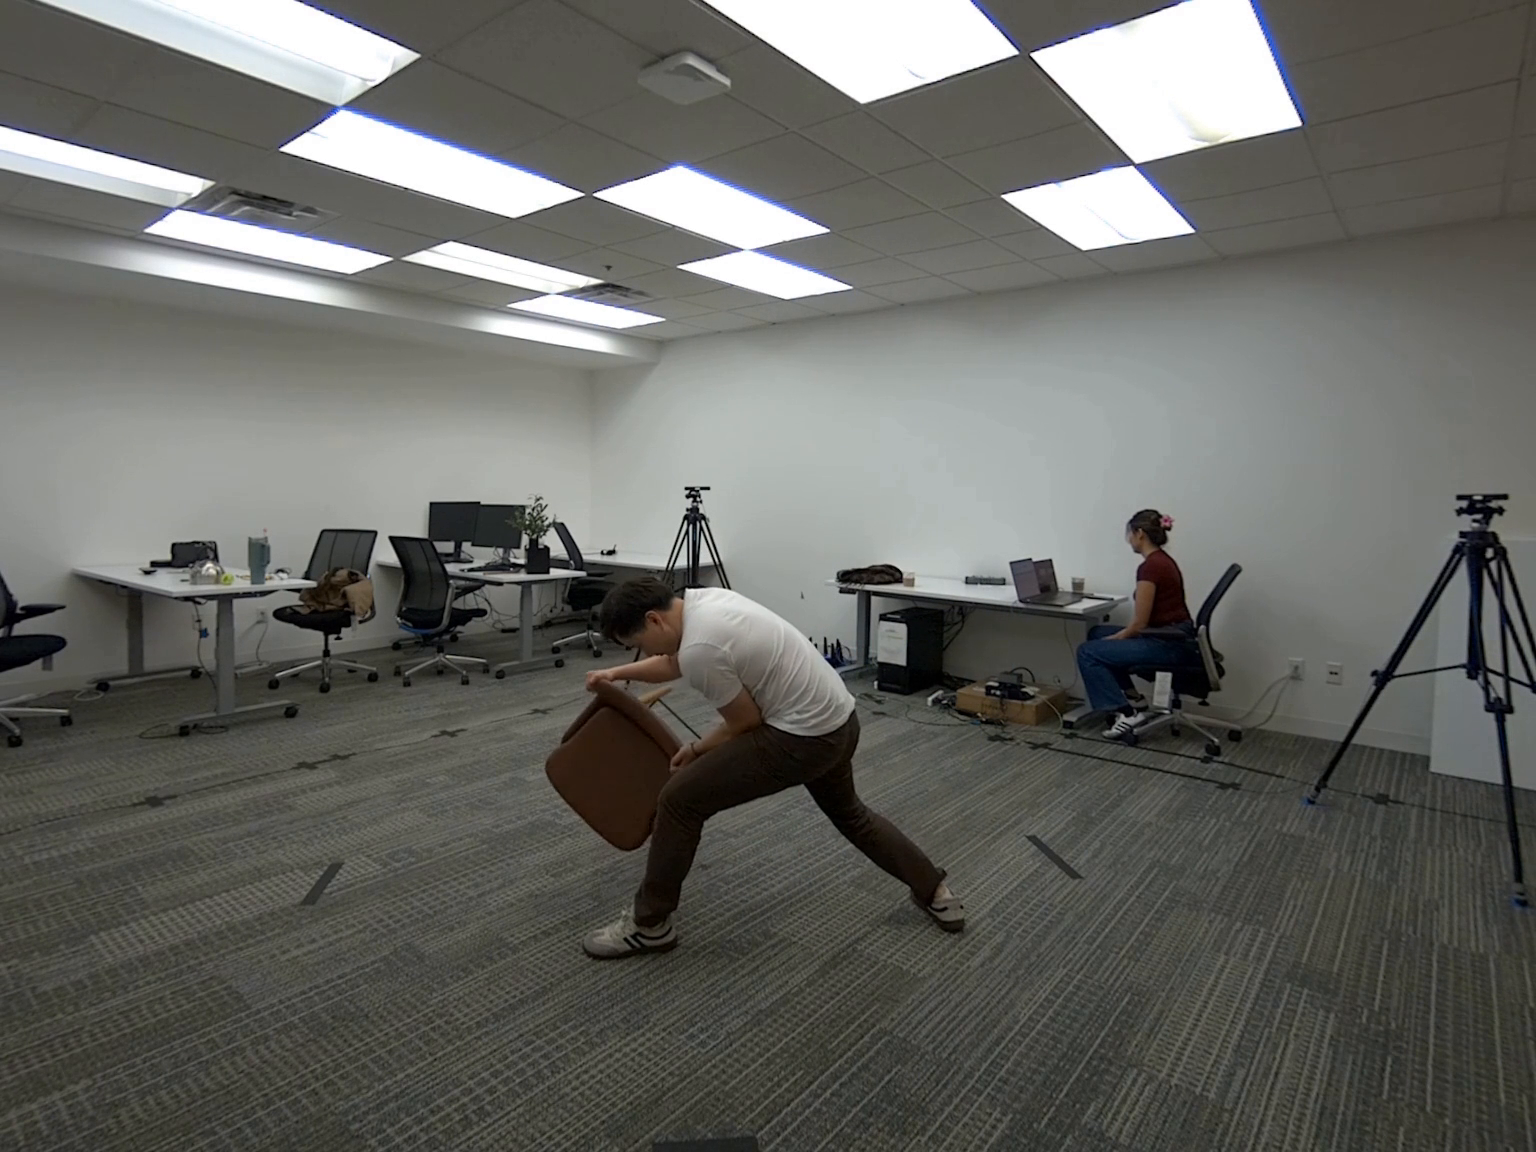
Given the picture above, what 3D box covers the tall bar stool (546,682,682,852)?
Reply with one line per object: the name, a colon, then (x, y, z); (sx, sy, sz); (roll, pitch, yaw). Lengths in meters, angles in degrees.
tall bar stool: (-0.487, 0.670, 3.073); (0.466, 0.467, 0.871); (40, -4, 13)
